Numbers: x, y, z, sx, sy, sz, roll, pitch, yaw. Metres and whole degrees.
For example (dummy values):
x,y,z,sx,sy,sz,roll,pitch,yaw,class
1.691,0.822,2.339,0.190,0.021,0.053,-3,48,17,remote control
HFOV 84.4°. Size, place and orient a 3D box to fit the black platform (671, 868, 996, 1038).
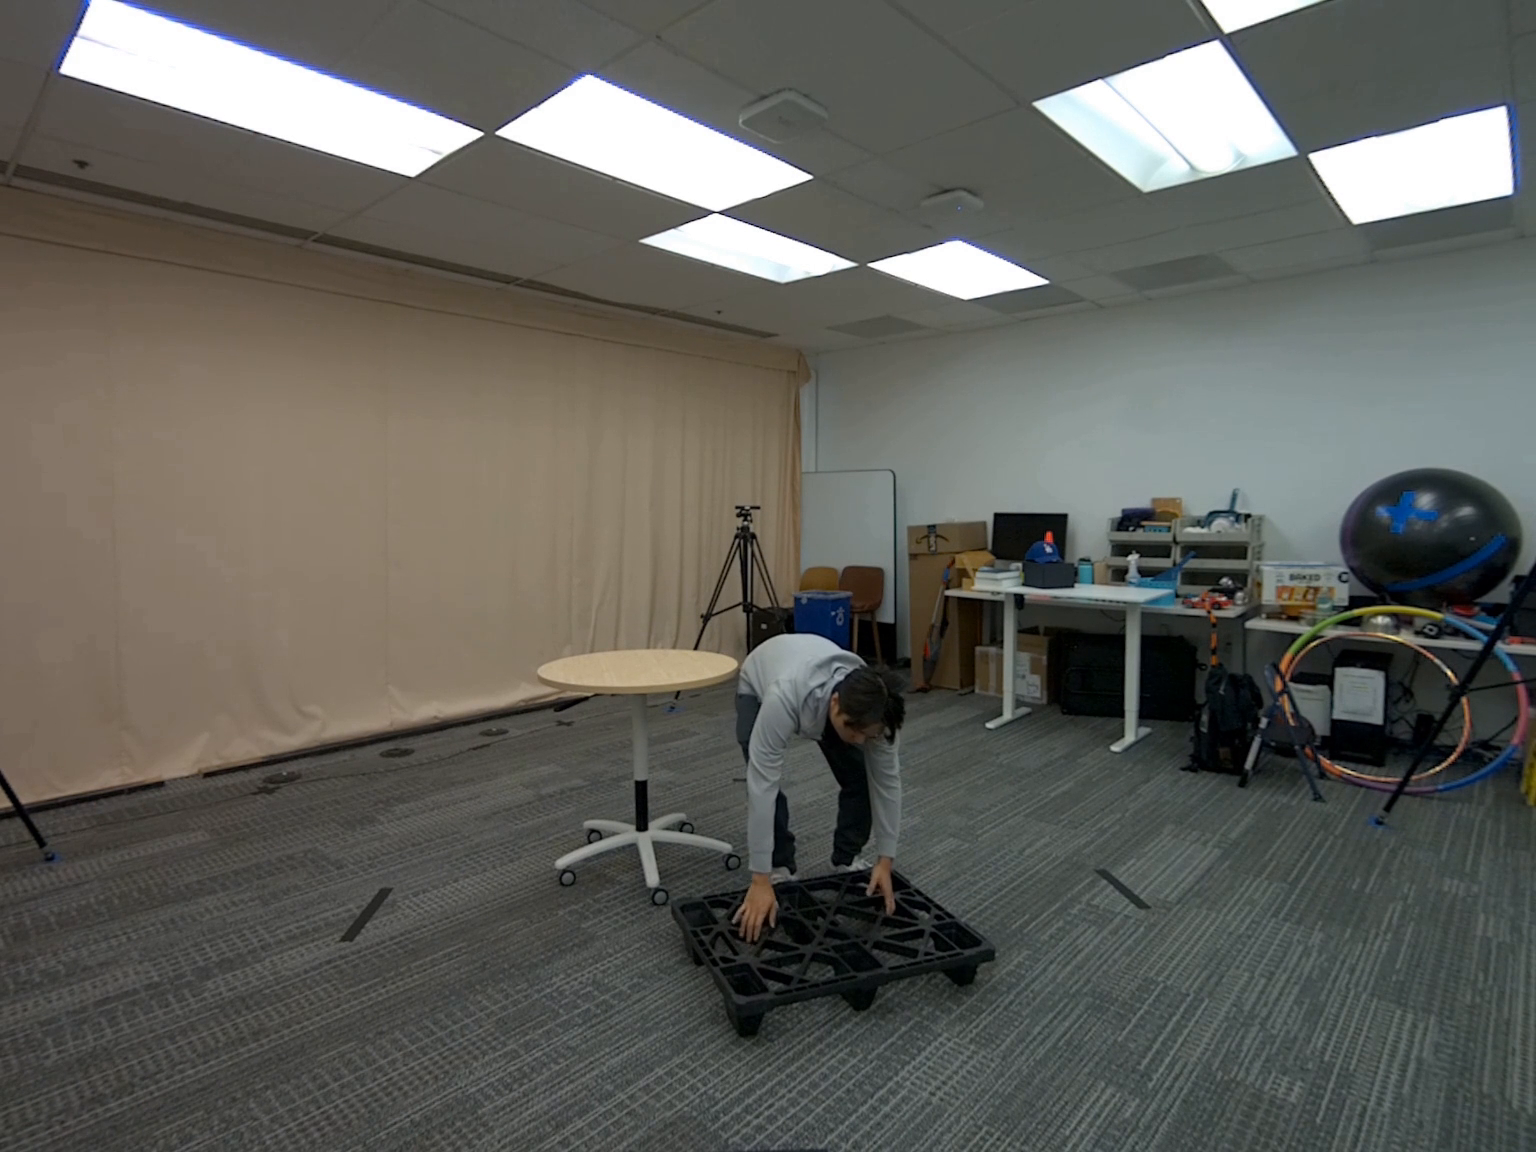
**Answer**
x,y,z,sx,sy,sz,roll,pitch,yaw,class
0.170,1.114,2.542,0.789,0.143,0.619,-2,5,-21,black platform
